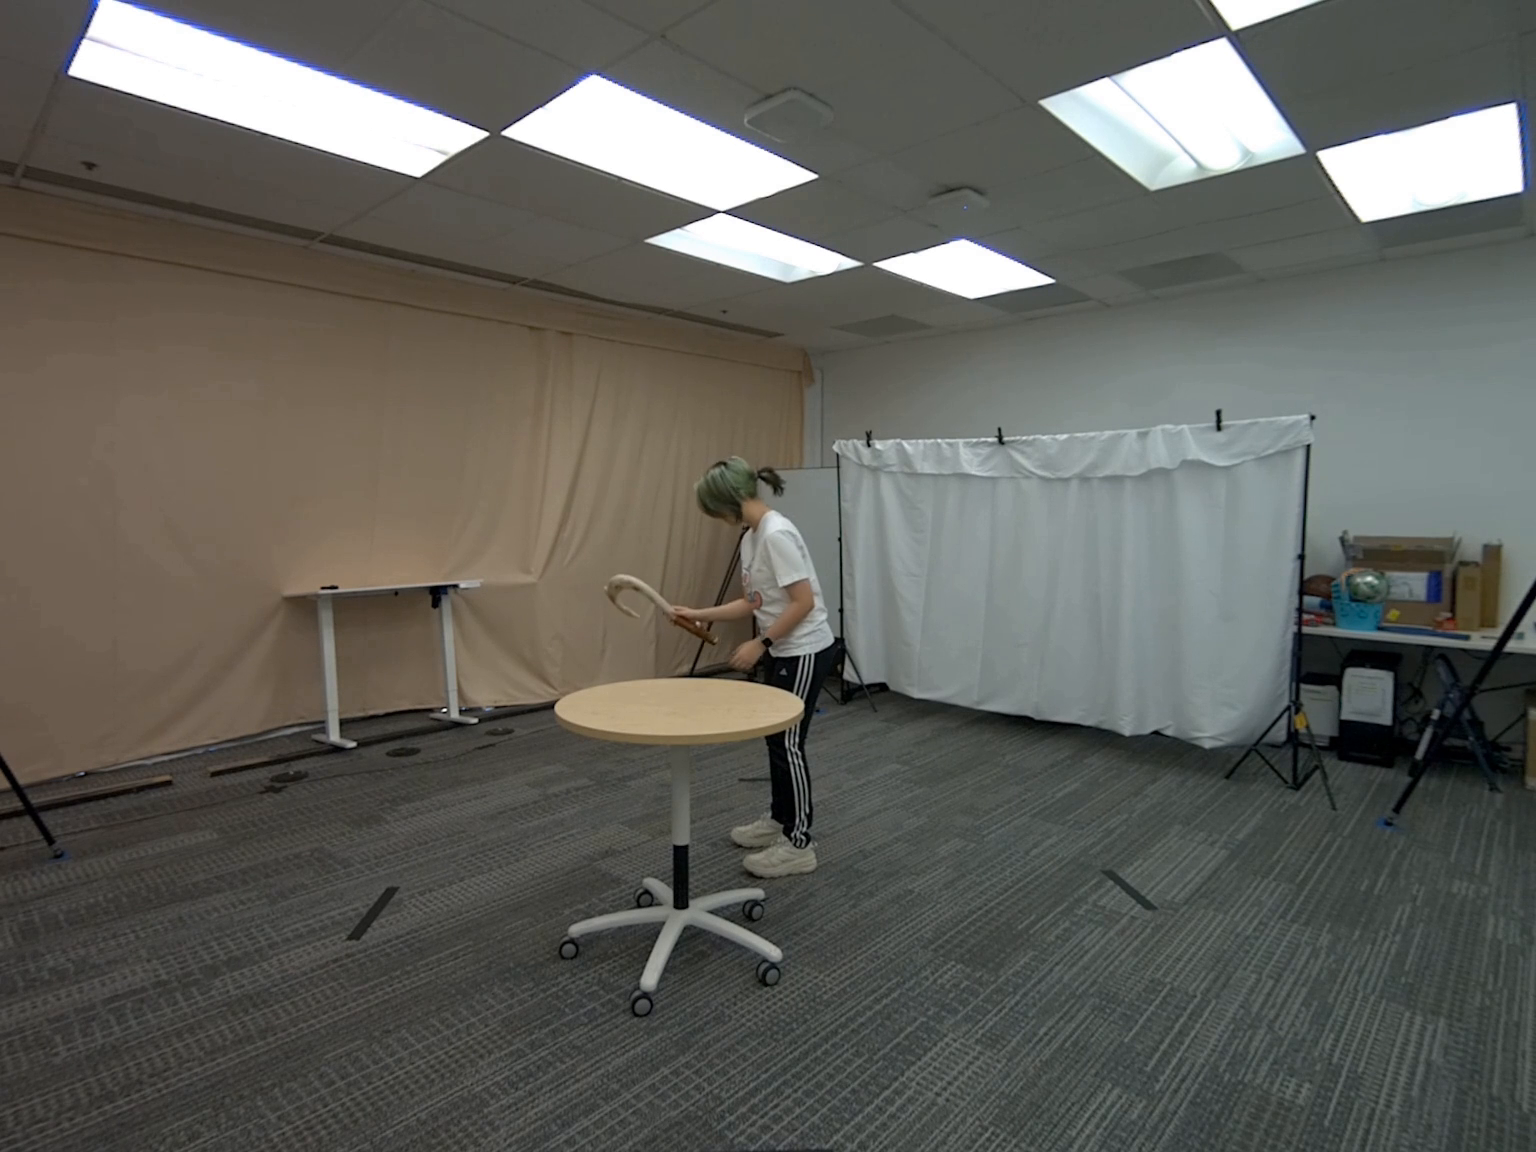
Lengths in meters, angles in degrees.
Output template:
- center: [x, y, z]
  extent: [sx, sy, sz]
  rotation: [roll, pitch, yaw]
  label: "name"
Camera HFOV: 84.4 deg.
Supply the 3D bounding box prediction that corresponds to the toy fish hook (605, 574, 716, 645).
- center: [-0.437, 0.171, 3.474]
  extent: [0.503, 0.048, 0.226]
  rotation: [35, -43, -6]
  label: "toy fish hook"
